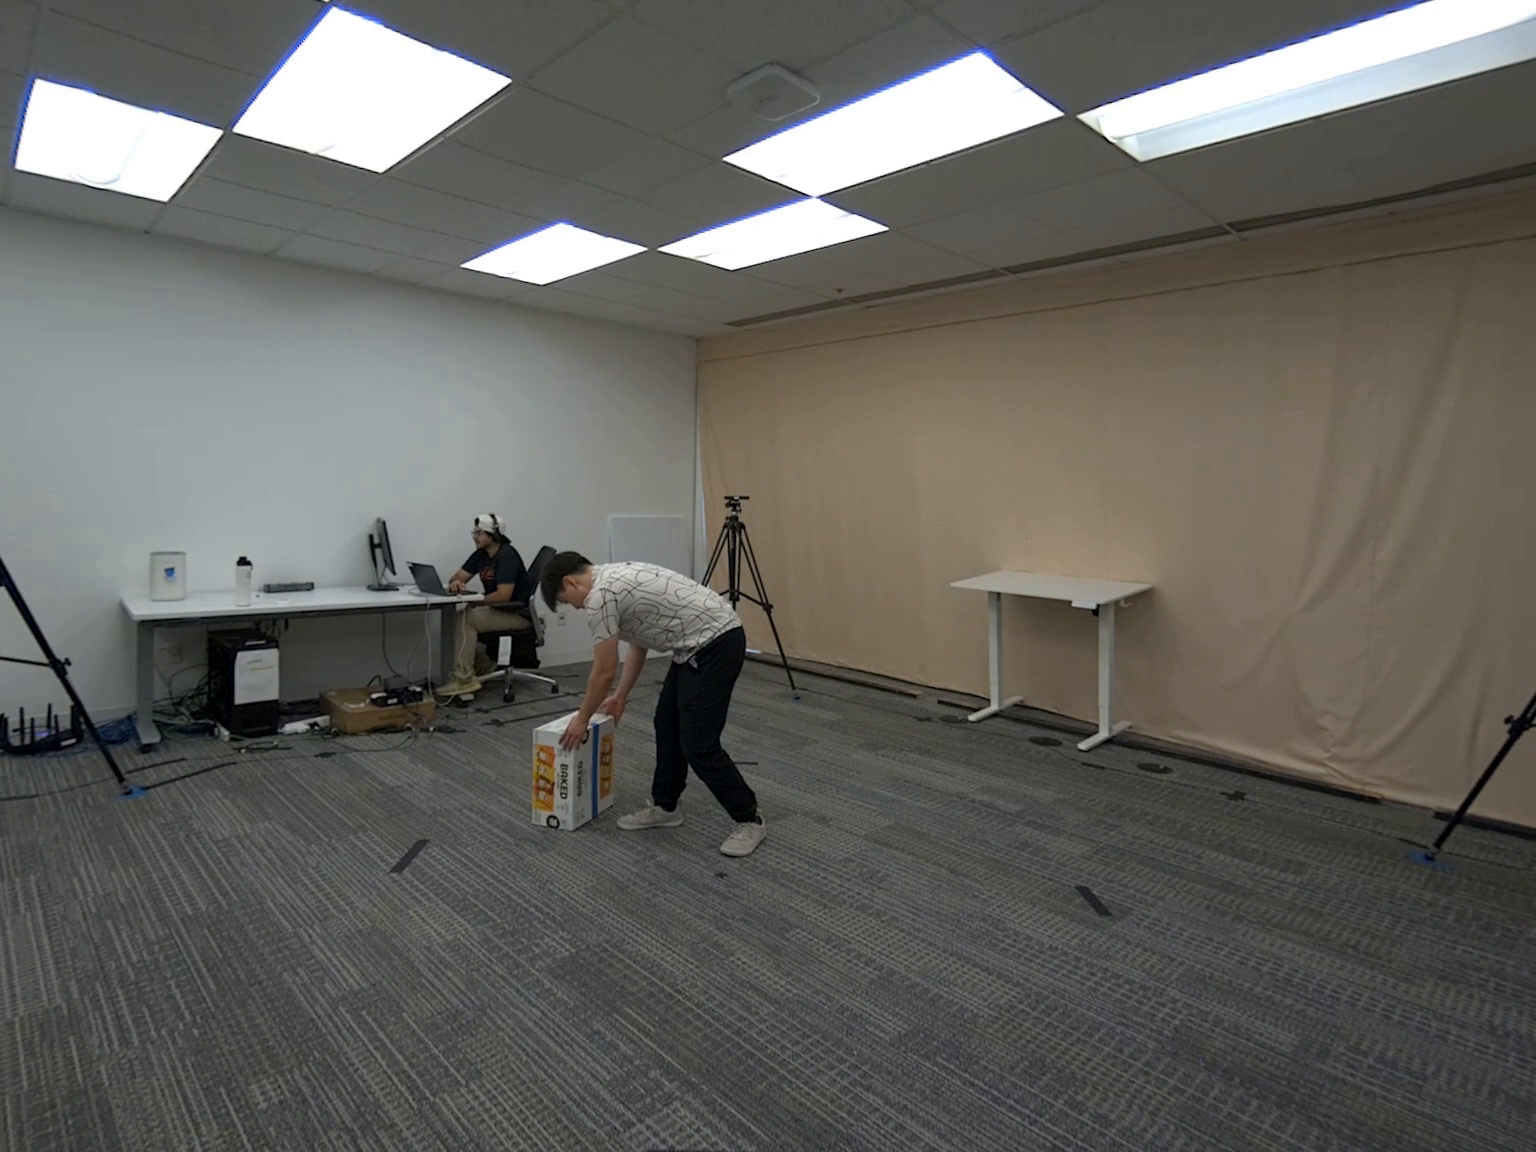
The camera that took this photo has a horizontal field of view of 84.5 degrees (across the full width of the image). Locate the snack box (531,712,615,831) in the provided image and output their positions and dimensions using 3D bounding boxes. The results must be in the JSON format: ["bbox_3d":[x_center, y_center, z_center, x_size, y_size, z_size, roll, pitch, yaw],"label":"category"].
[{"bbox_3d":[-0.842,0.830,3.649,0.209,0.404,0.336,2,4,20],"label":"snack box"}]
